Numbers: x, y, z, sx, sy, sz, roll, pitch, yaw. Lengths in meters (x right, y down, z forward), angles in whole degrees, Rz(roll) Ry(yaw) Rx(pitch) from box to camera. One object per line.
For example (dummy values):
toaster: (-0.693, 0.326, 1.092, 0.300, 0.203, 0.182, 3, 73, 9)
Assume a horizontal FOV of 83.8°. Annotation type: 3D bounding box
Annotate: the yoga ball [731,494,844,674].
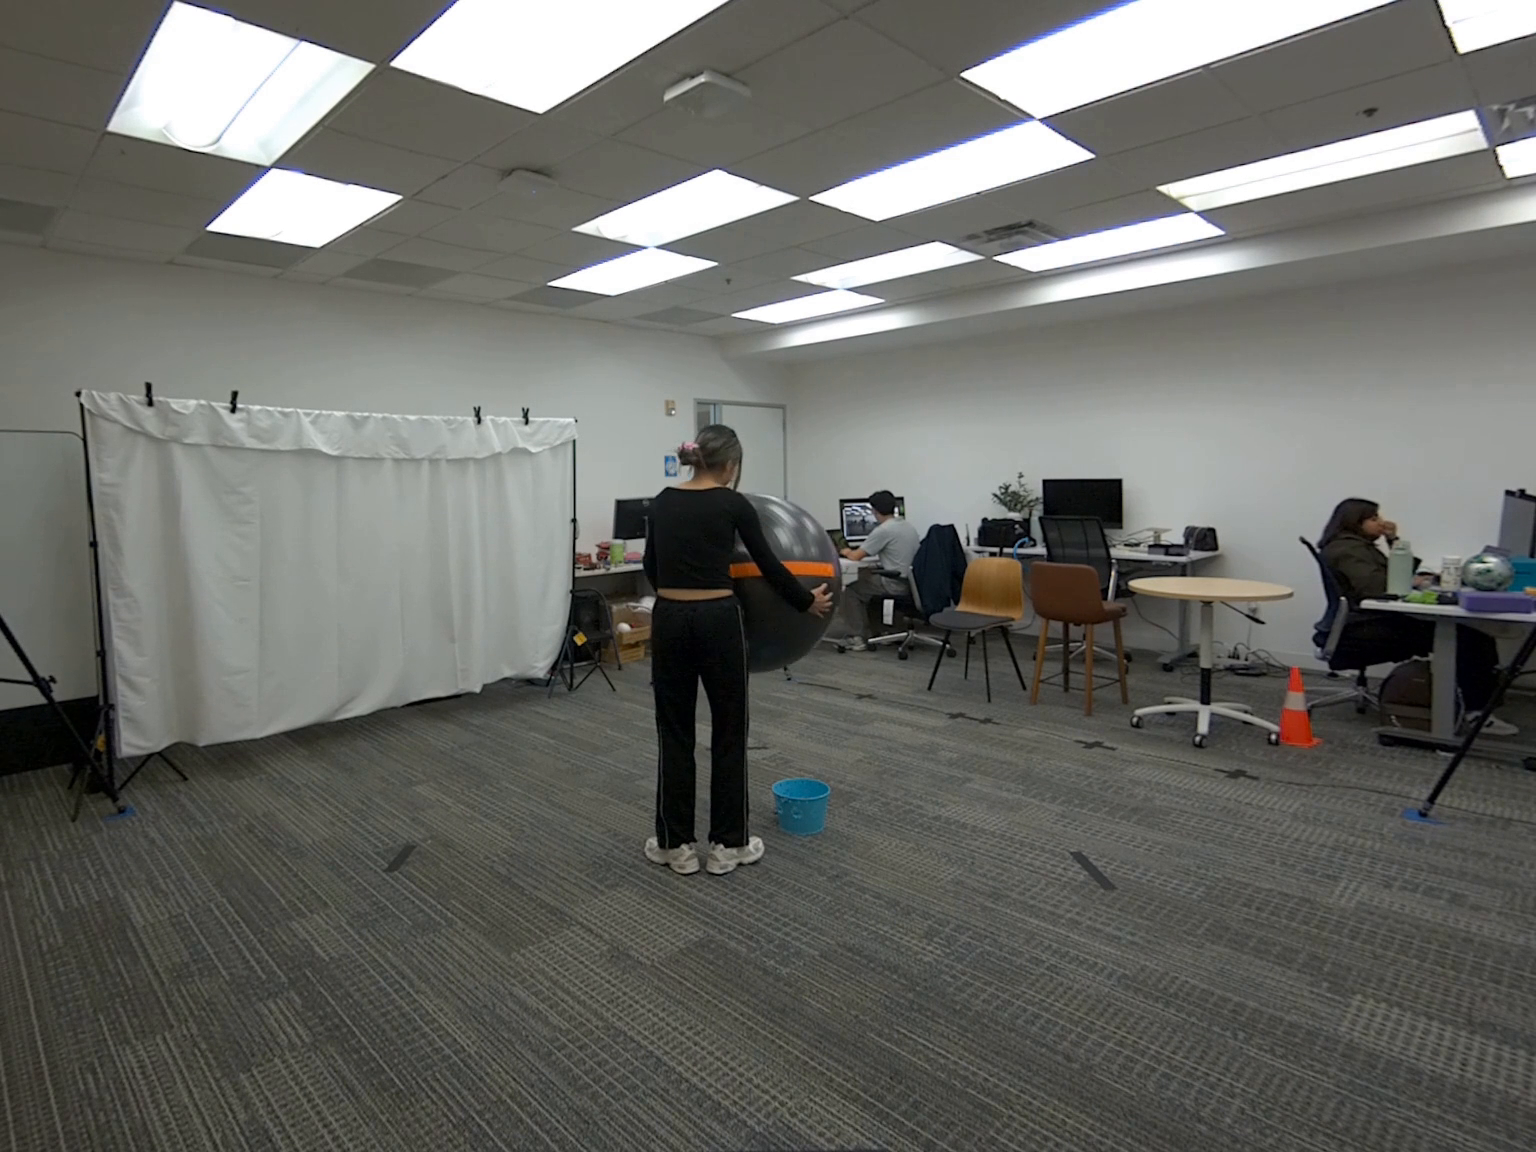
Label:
yoga ball: (-0.072, 0.033, 3.628, 0.757, 0.755, 0.762, -1, 5, -2)
